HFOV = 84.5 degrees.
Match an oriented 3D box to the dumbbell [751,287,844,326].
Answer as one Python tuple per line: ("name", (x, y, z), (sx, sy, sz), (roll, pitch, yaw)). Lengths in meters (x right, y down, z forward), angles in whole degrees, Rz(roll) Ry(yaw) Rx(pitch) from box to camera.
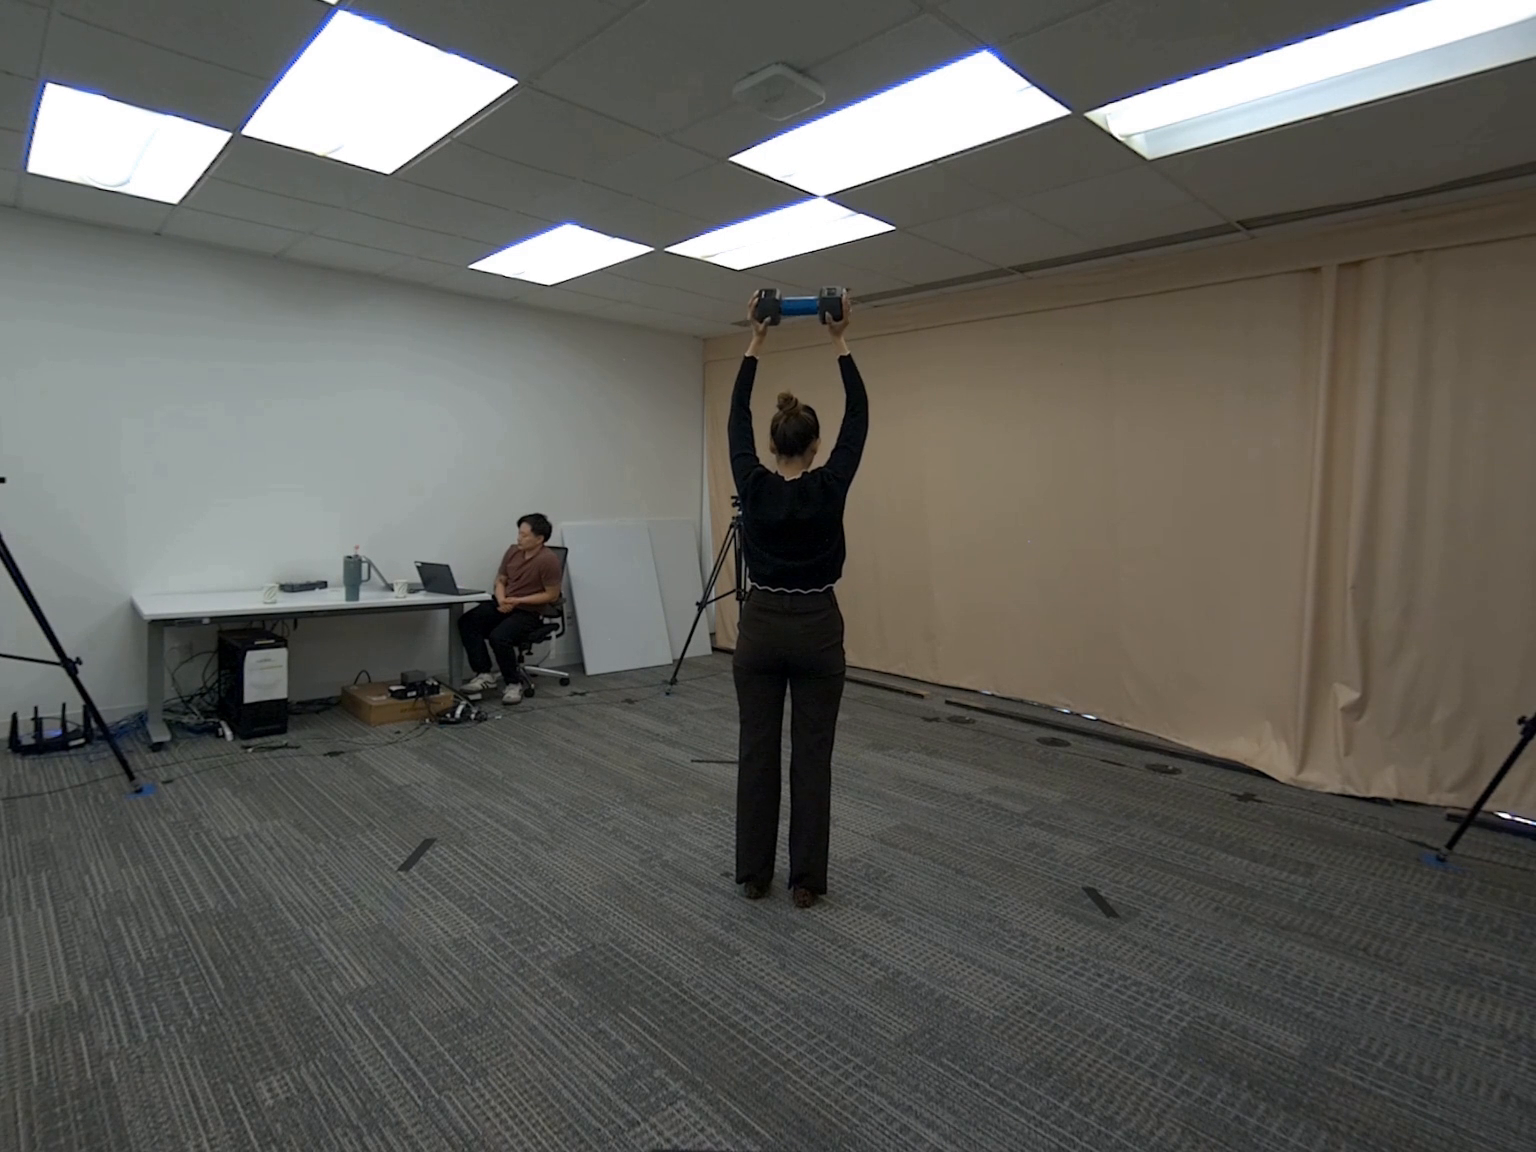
("dumbbell", (0.108, -0.911, 2.855), (0.295, 0.110, 0.121), (4, -14, 6))
